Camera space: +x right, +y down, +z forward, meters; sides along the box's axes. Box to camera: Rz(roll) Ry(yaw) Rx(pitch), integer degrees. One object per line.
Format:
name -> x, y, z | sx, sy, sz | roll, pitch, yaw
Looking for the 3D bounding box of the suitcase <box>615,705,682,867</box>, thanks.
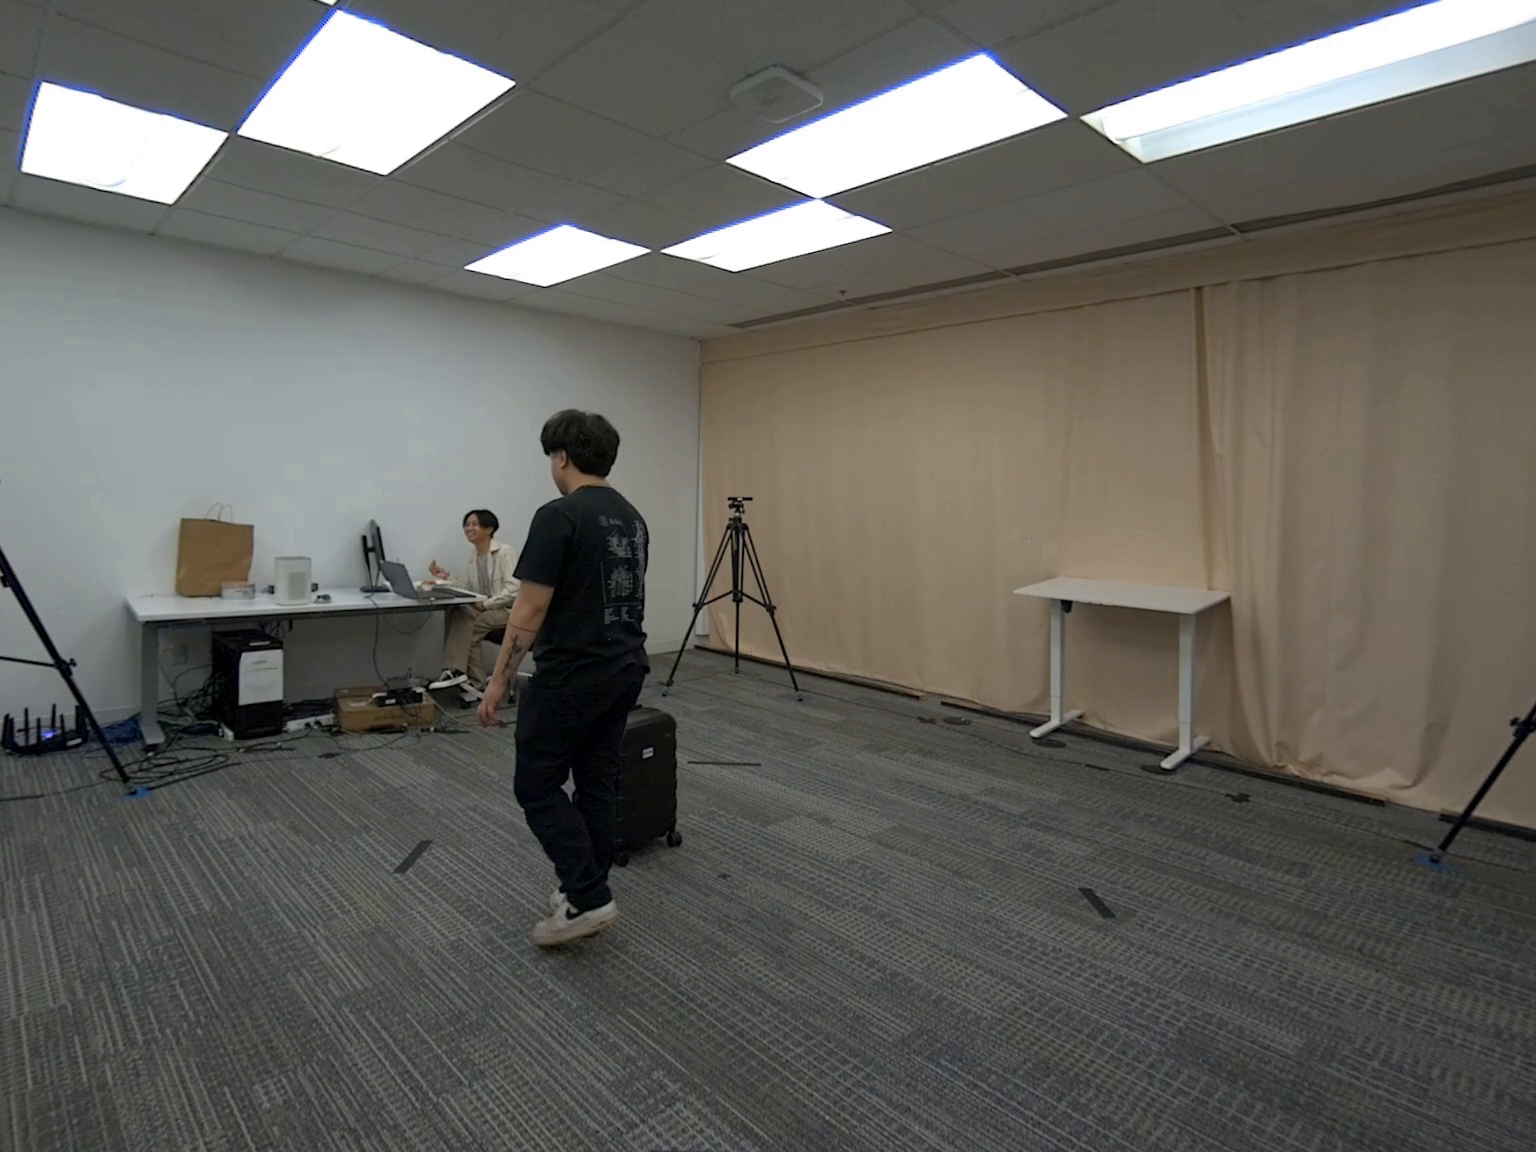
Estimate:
suitcase -> -0.557, 0.803, 3.330 | 0.254, 0.548, 0.367 | 3, 4, 39
